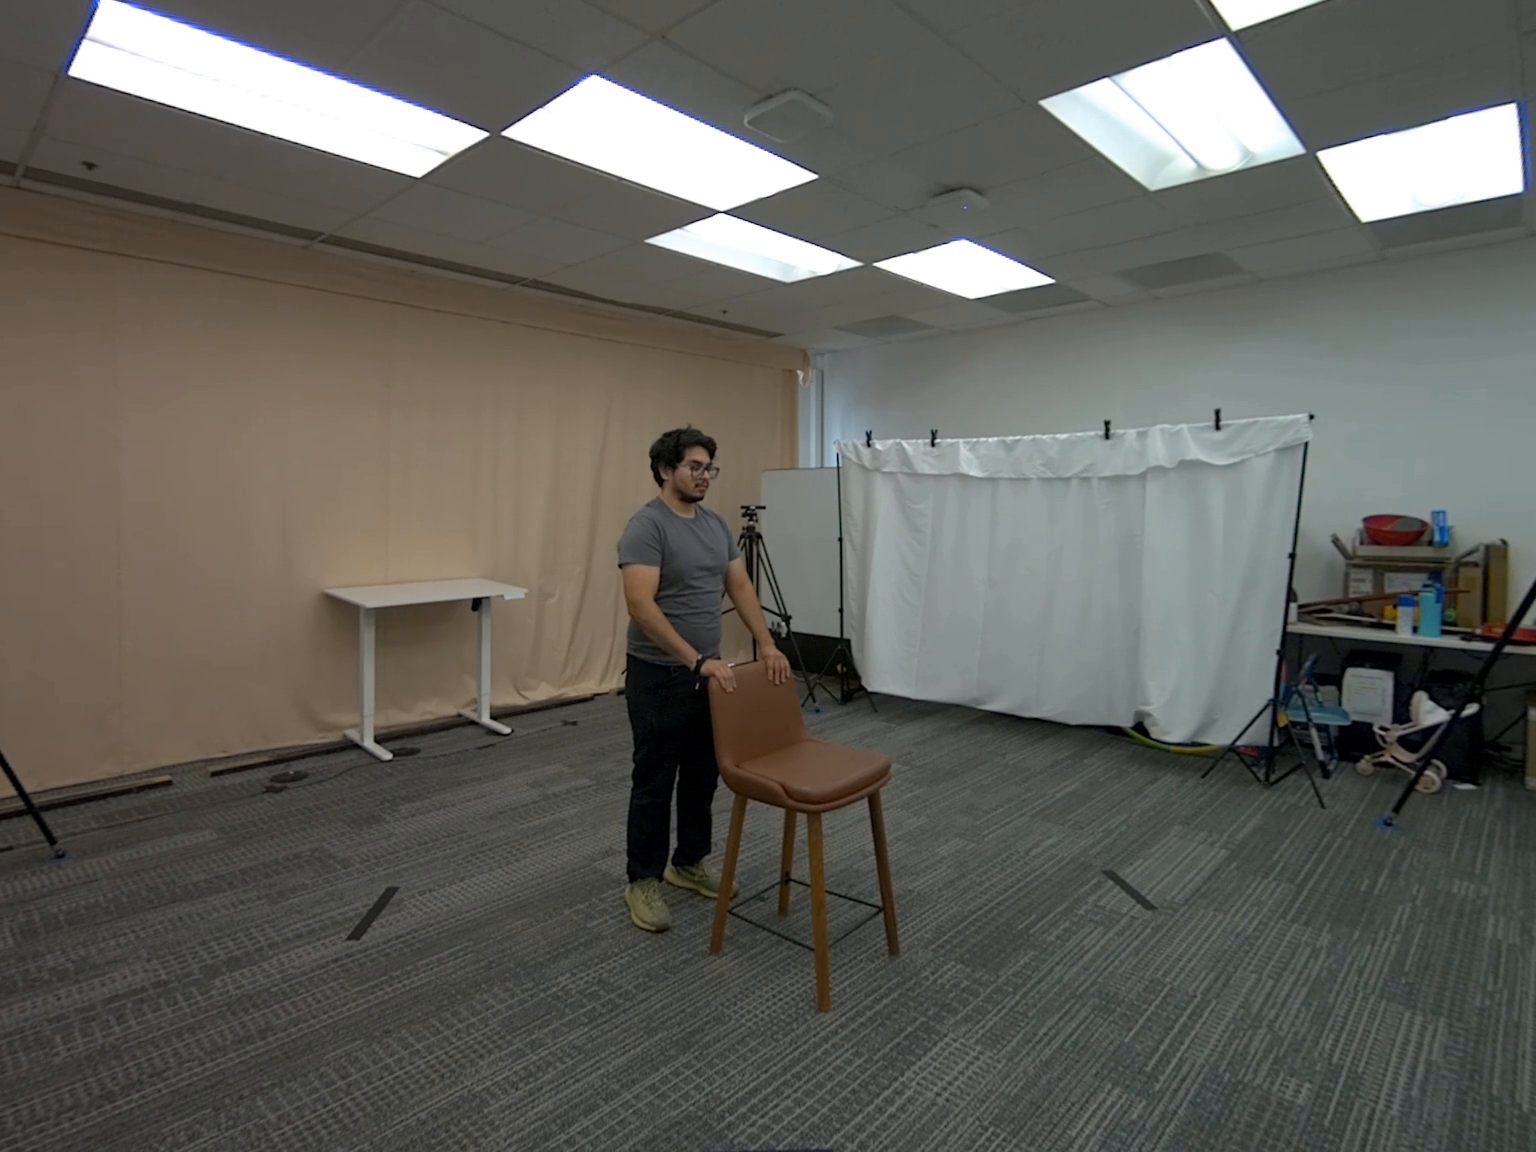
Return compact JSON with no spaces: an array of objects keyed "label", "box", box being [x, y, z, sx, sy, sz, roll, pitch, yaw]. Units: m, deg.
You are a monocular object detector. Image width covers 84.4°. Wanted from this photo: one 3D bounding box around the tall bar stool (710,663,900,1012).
[{"label":"tall bar stool","box":[0.103,0.739,2.596,0.482,0.889,0.442,0,2,41]}]
